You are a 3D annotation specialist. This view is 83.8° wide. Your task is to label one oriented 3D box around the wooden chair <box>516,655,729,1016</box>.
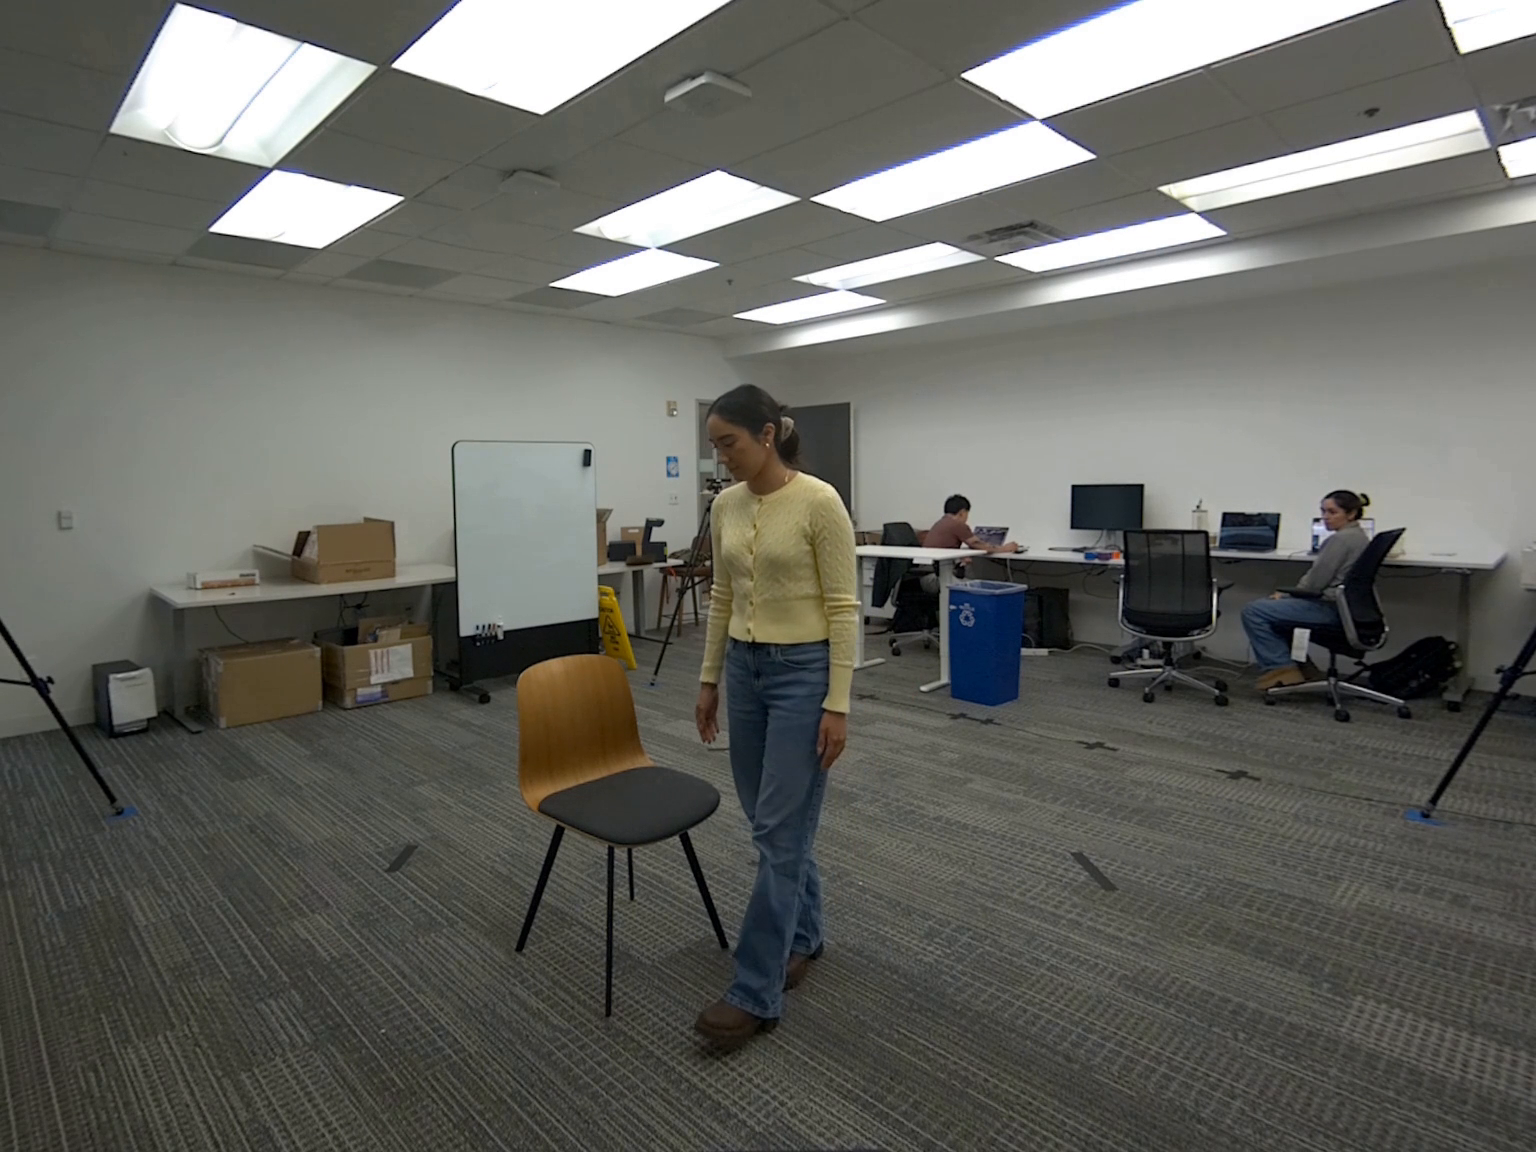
[{"bbox_3d":[-0.433,0.693,2.512,0.538,0.876,0.465,-2,2,44],"label":"wooden chair"}]
